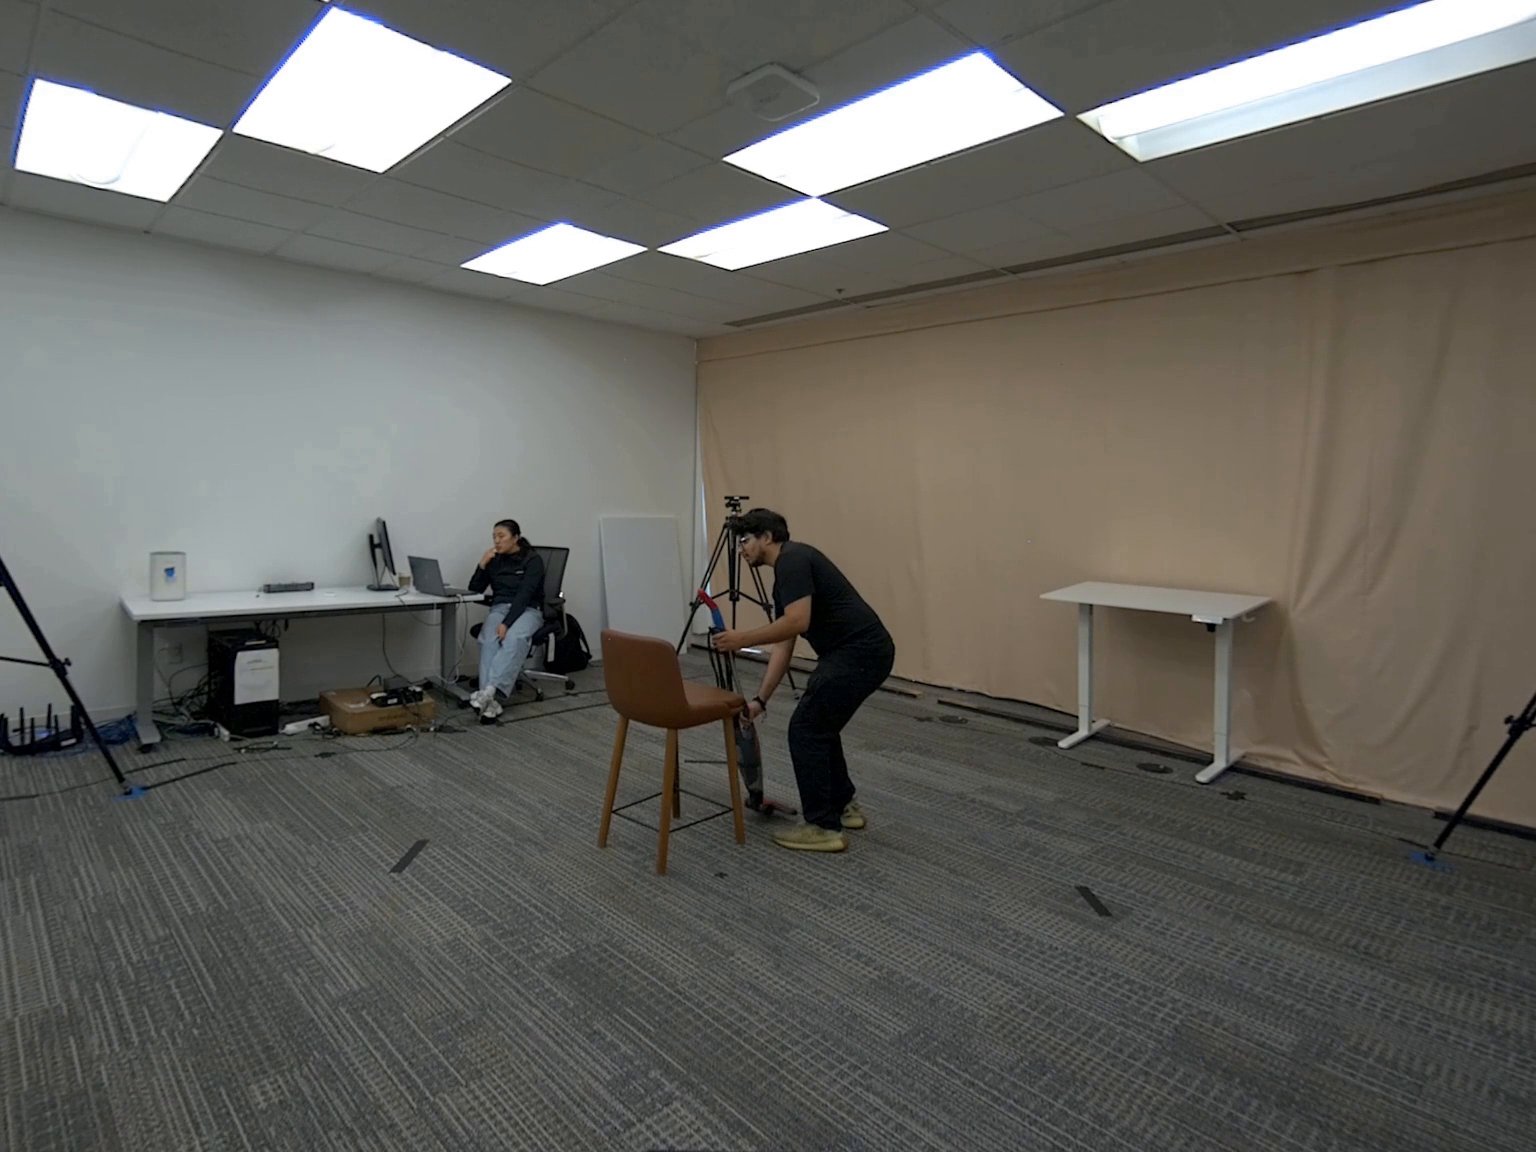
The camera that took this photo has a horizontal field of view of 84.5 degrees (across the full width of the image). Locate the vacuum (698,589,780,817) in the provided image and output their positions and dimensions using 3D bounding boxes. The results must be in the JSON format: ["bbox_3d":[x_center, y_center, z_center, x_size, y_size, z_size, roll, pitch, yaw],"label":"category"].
[{"bbox_3d":[-0.148,0.541,3.555,0.142,1.034,0.259,-24,18,-30],"label":"vacuum"}]
